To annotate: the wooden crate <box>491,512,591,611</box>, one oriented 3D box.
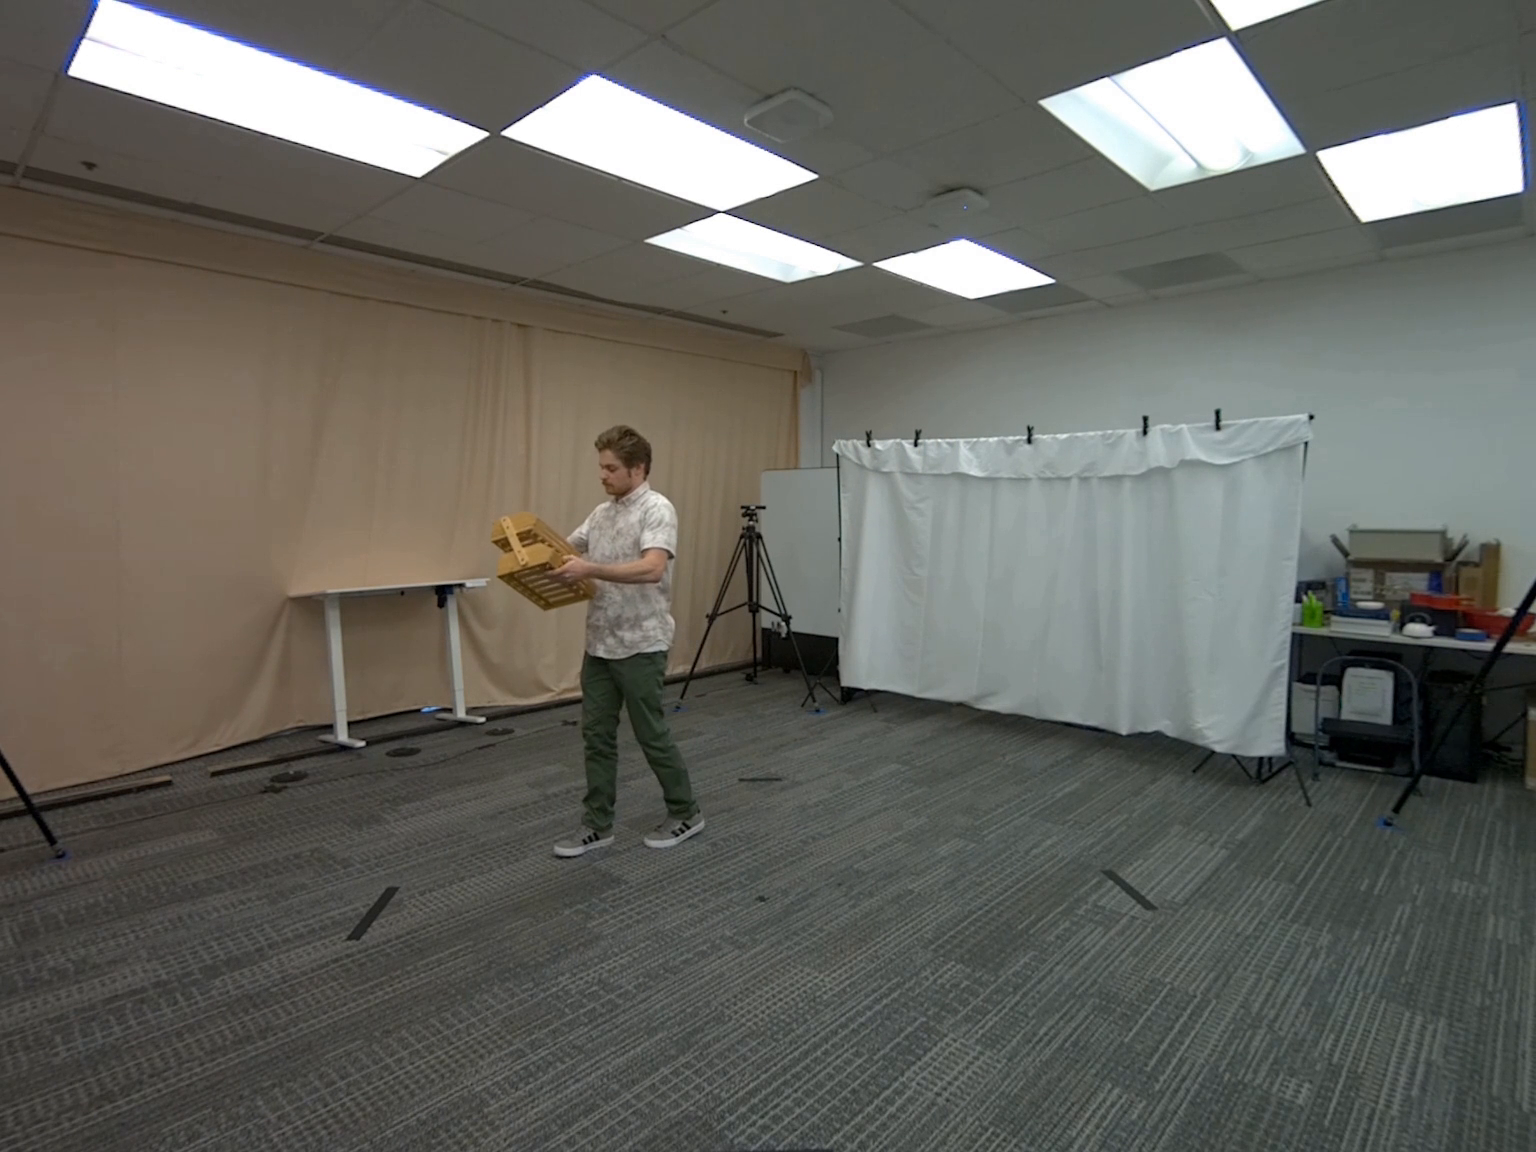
[{"bbox_3d":[-0.845,-0.067,3.221,0.307,0.278,0.313,-15,-34,19],"label":"wooden crate"}]
